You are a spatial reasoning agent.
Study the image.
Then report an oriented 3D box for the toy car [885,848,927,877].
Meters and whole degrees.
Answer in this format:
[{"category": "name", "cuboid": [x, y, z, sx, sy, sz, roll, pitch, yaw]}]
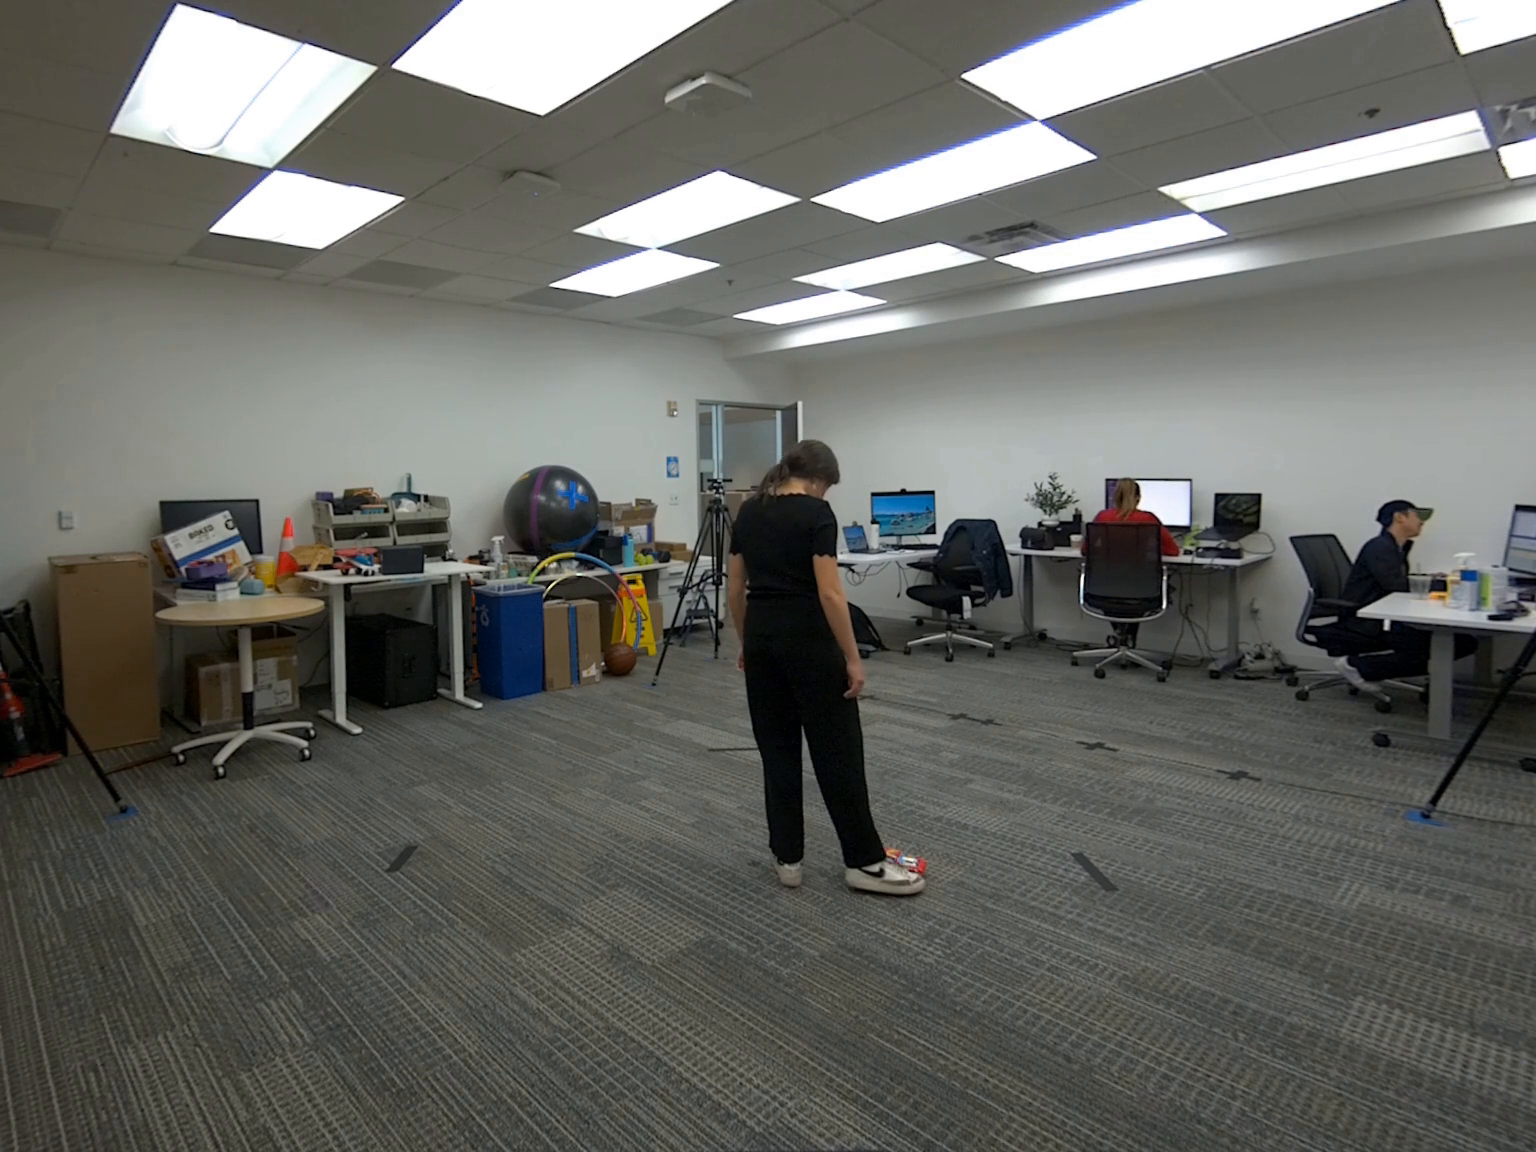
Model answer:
[{"category": "toy car", "cuboid": [0.425, 1.008, 3.021, 0.261, 0.082, 0.128, 13, 11, 22]}]
